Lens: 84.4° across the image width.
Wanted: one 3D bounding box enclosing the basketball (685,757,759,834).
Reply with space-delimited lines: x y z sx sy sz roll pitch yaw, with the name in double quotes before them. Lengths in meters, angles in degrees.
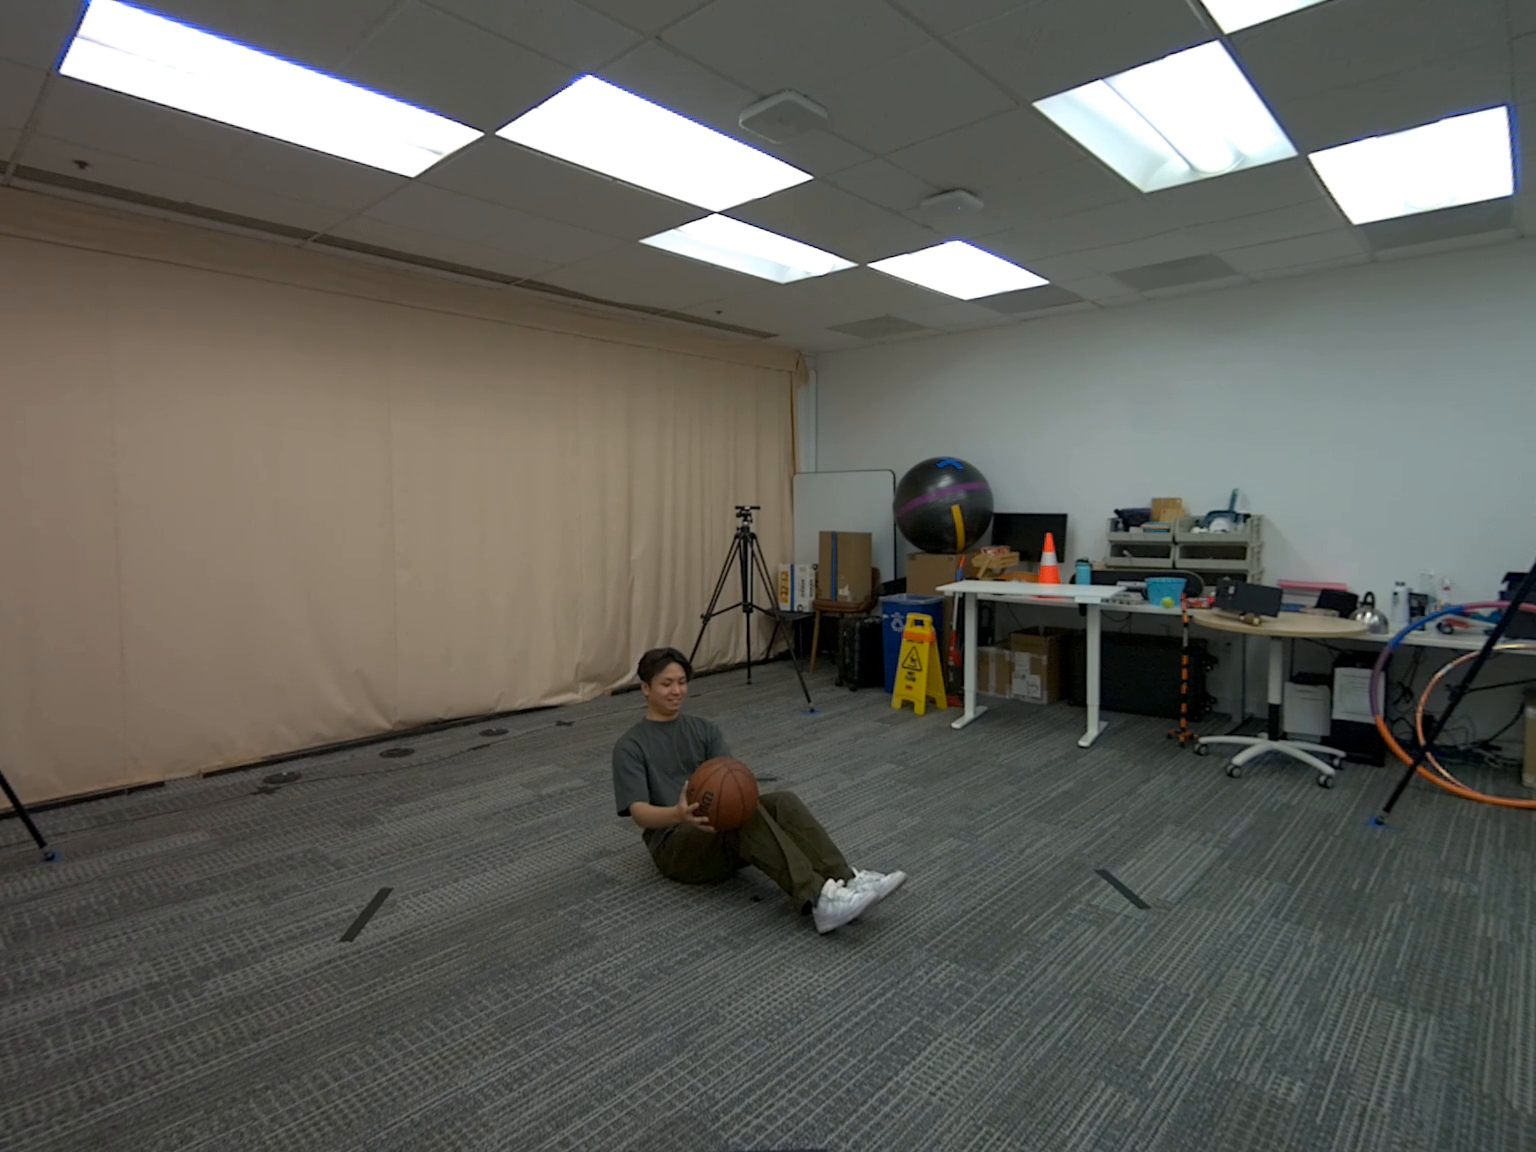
"basketball" -0.148 0.734 2.830 0.236 0.235 0.237 0 4 -2
